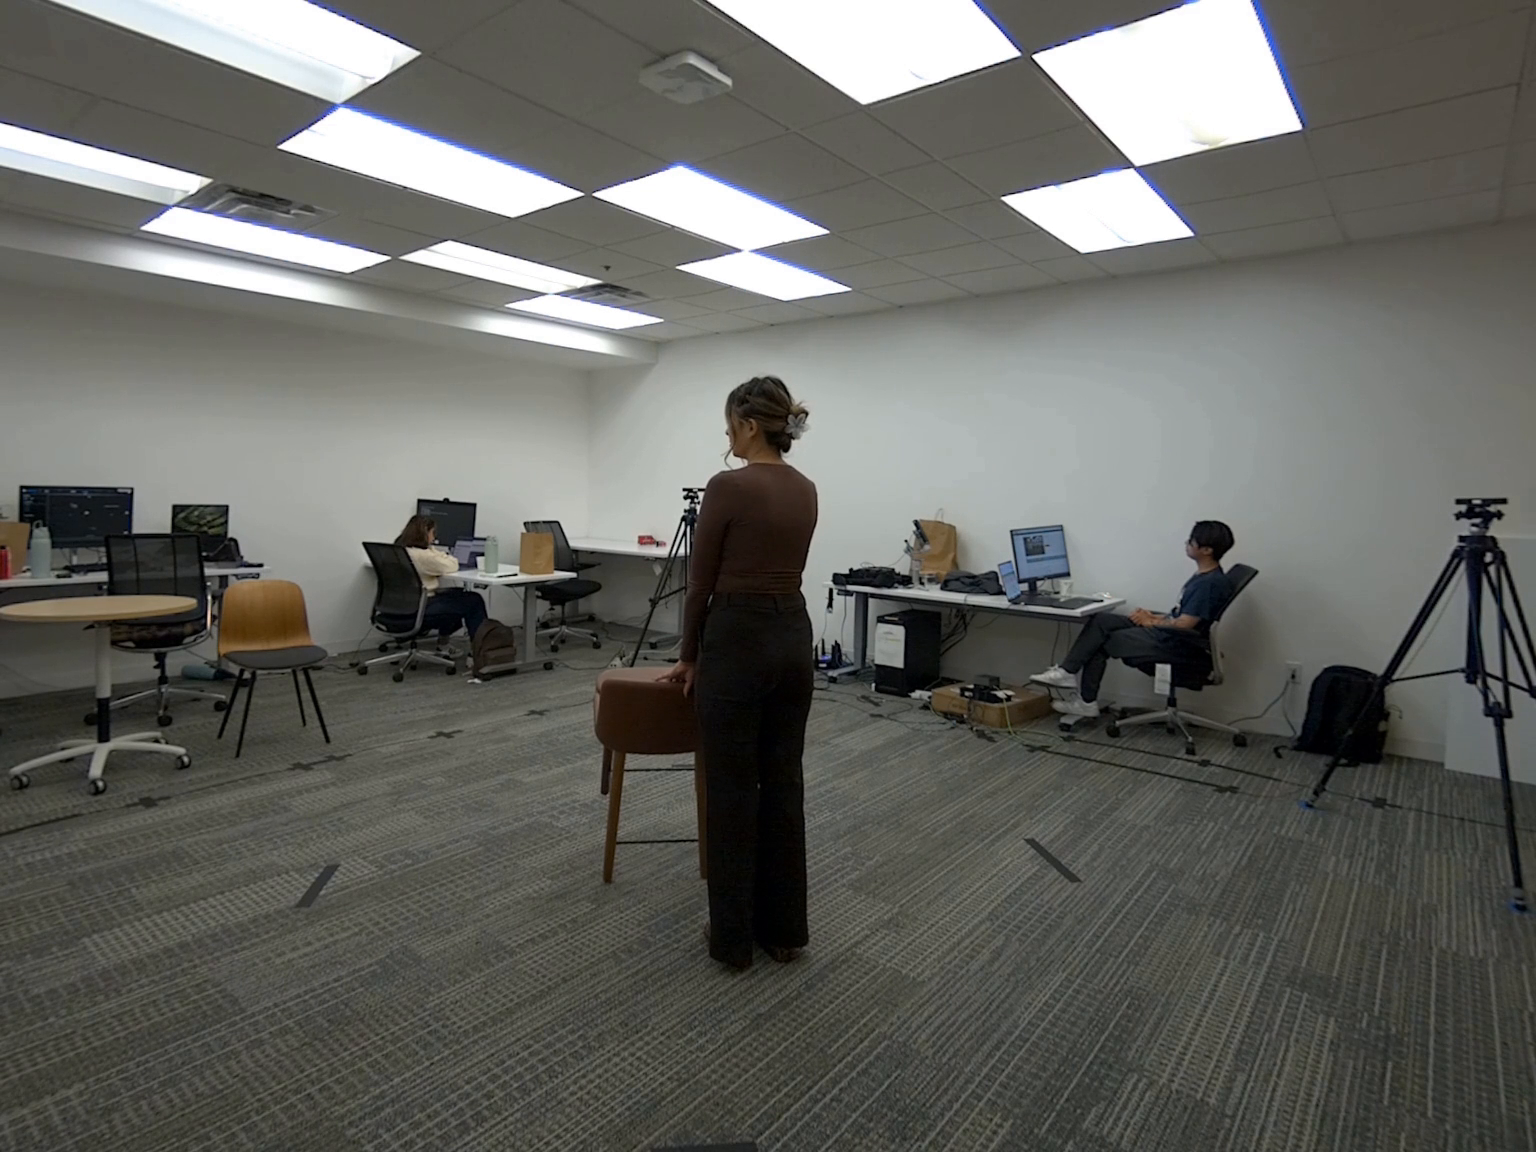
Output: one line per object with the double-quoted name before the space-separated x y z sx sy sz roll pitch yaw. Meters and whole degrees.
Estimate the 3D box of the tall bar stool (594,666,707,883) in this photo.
"tall bar stool" -0.401 0.592 3.009 0.453 0.870 0.482 1 29 -8
